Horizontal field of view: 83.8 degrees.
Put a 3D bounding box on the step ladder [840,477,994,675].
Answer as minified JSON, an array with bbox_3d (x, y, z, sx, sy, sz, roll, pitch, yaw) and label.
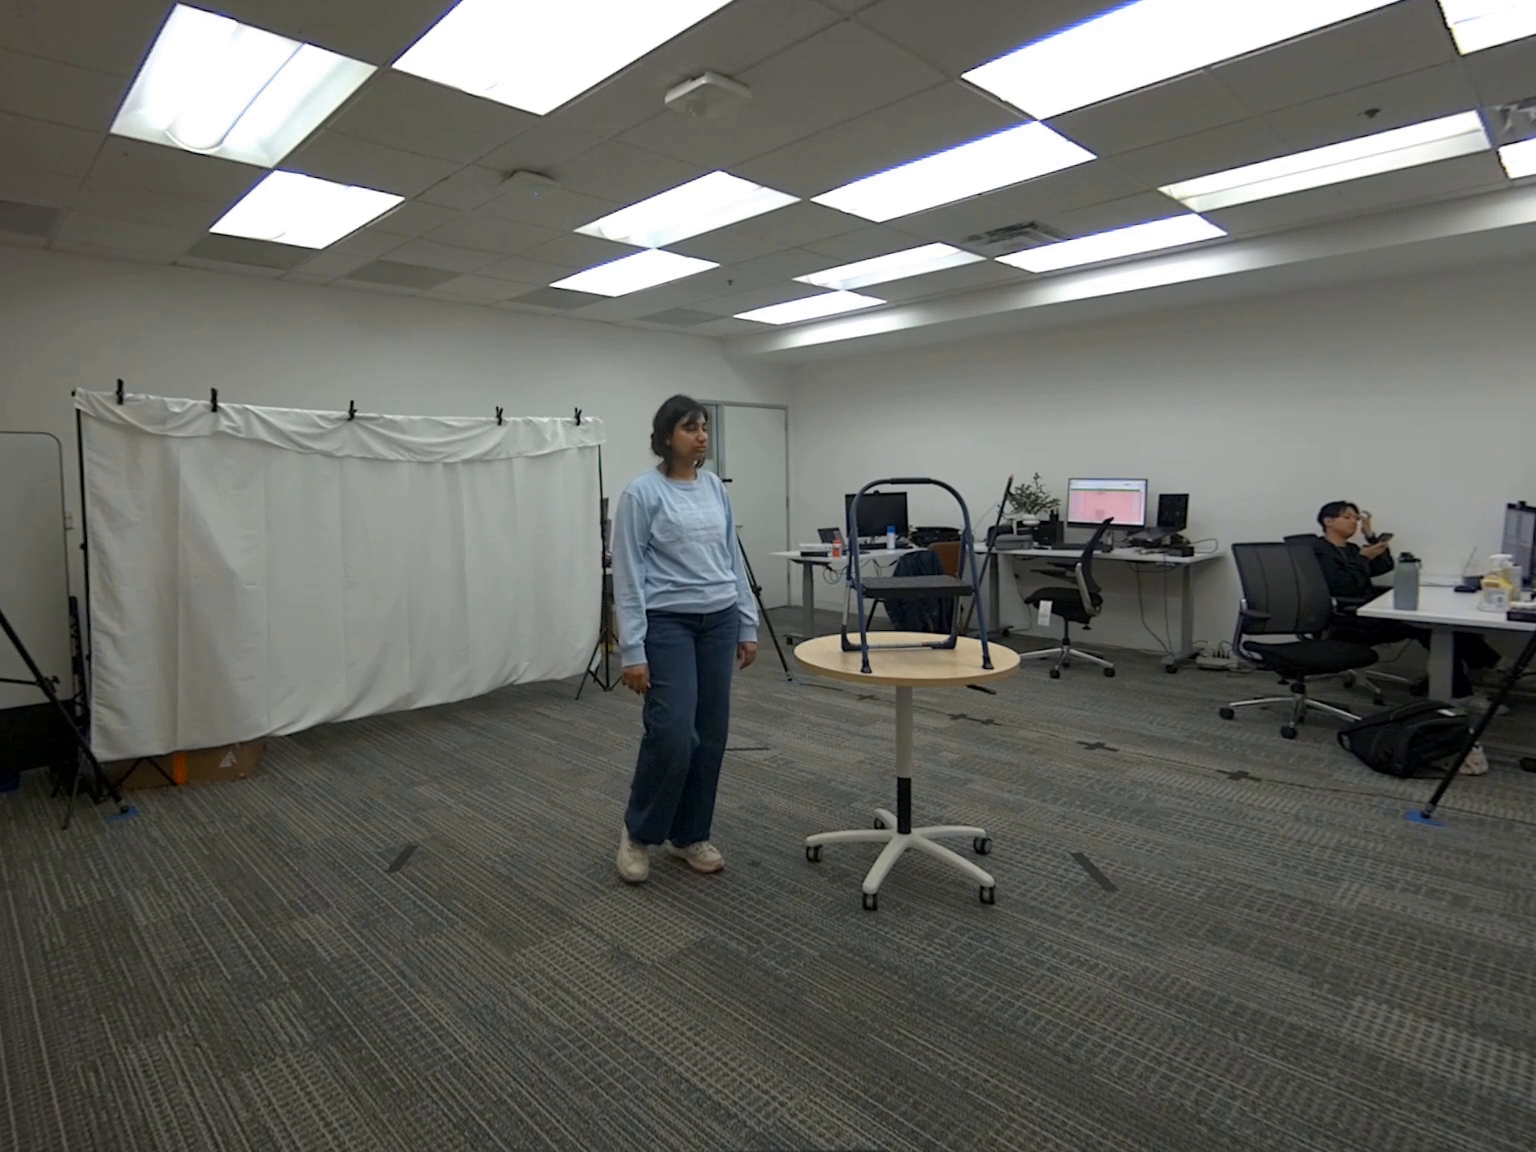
[{"bbox_3d":[0.483,-0.022,2.845,0.428,0.603,0.353,-2,6,-7],"label":"step ladder"}]
